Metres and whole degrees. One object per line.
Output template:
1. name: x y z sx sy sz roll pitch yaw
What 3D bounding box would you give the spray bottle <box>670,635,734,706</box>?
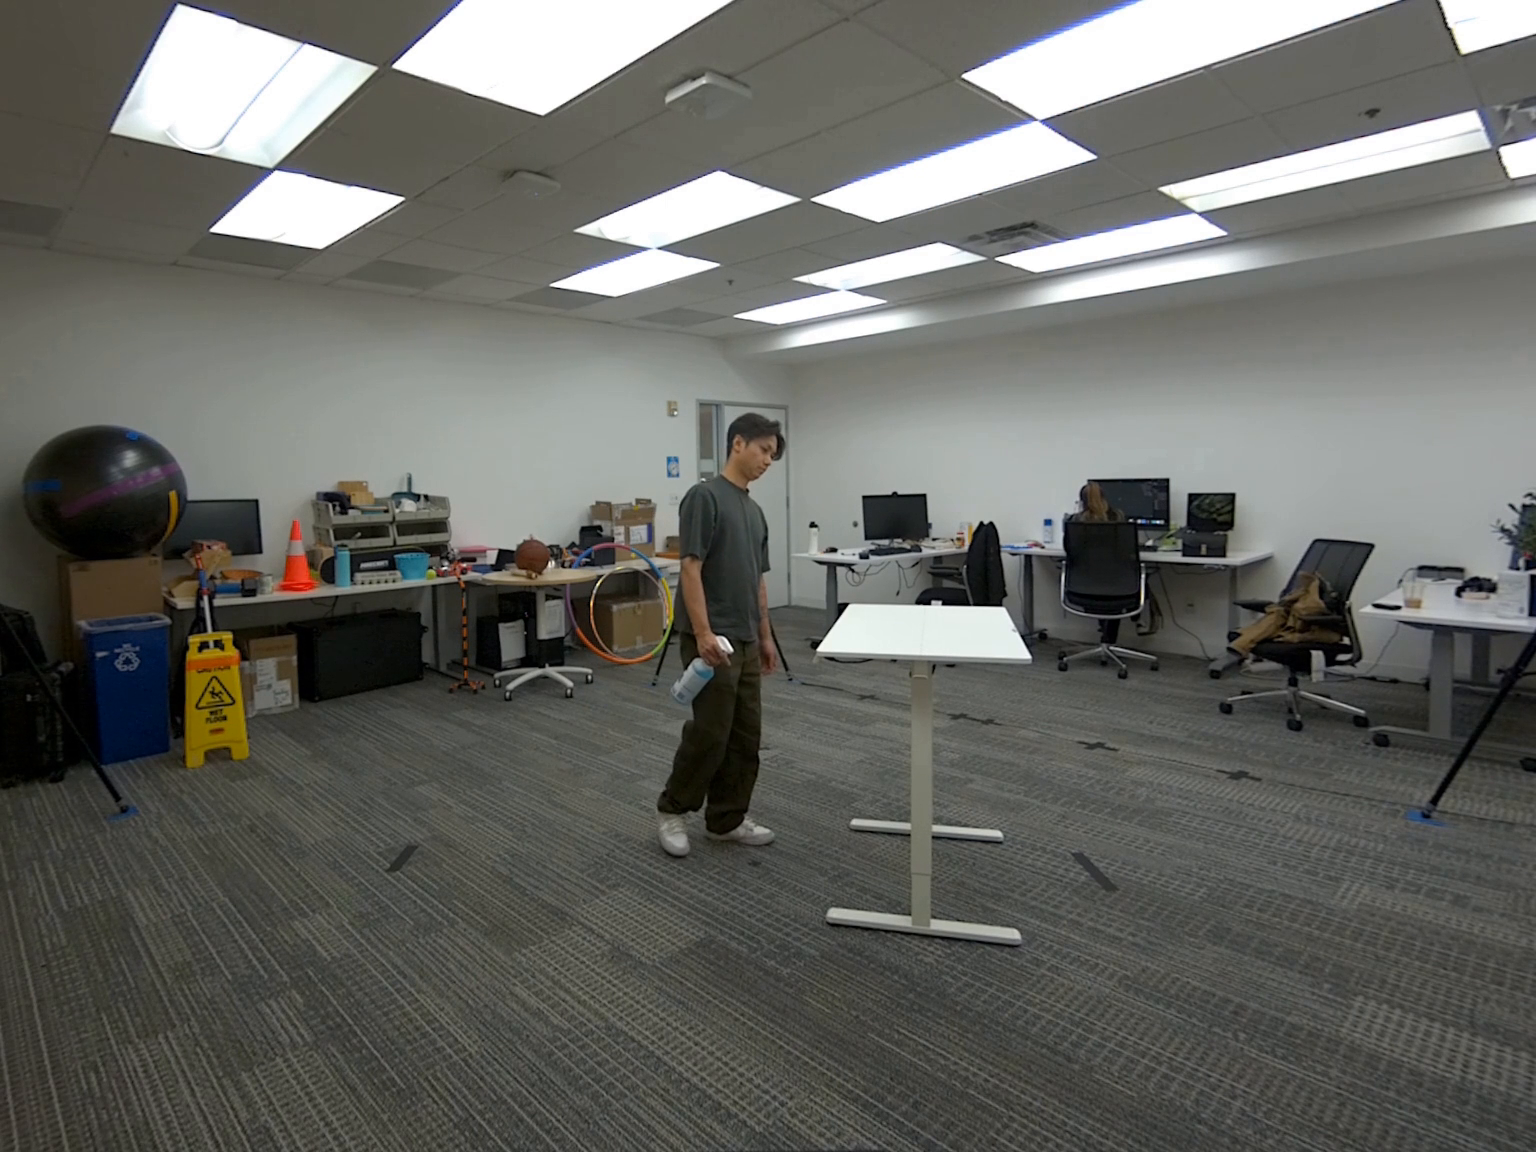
1. spray bottle: -0.236 0.332 2.993 0.084 0.297 0.093 31 24 -25
